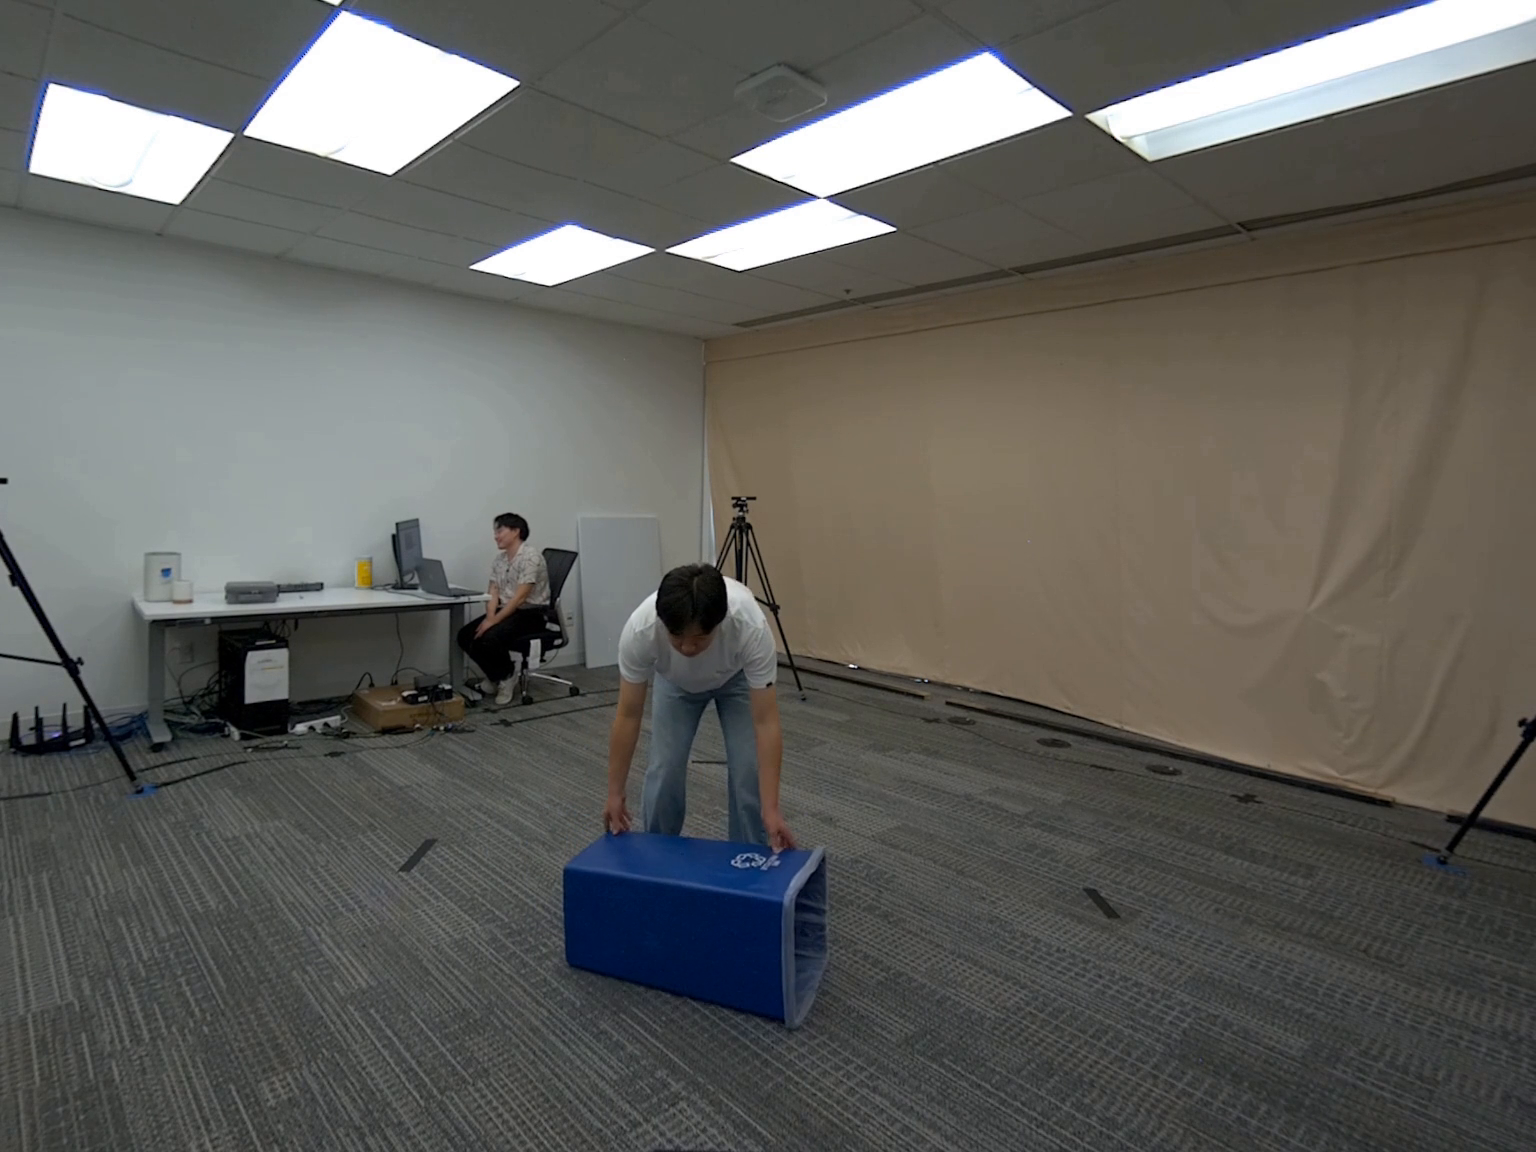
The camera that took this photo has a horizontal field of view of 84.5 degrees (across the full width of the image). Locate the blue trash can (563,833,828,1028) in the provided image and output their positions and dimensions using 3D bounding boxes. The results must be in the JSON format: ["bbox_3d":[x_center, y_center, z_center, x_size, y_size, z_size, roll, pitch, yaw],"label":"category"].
[{"bbox_3d":[-0.220,0.992,2.472,0.725,0.377,0.369,1,4,22],"label":"blue trash can"}]
